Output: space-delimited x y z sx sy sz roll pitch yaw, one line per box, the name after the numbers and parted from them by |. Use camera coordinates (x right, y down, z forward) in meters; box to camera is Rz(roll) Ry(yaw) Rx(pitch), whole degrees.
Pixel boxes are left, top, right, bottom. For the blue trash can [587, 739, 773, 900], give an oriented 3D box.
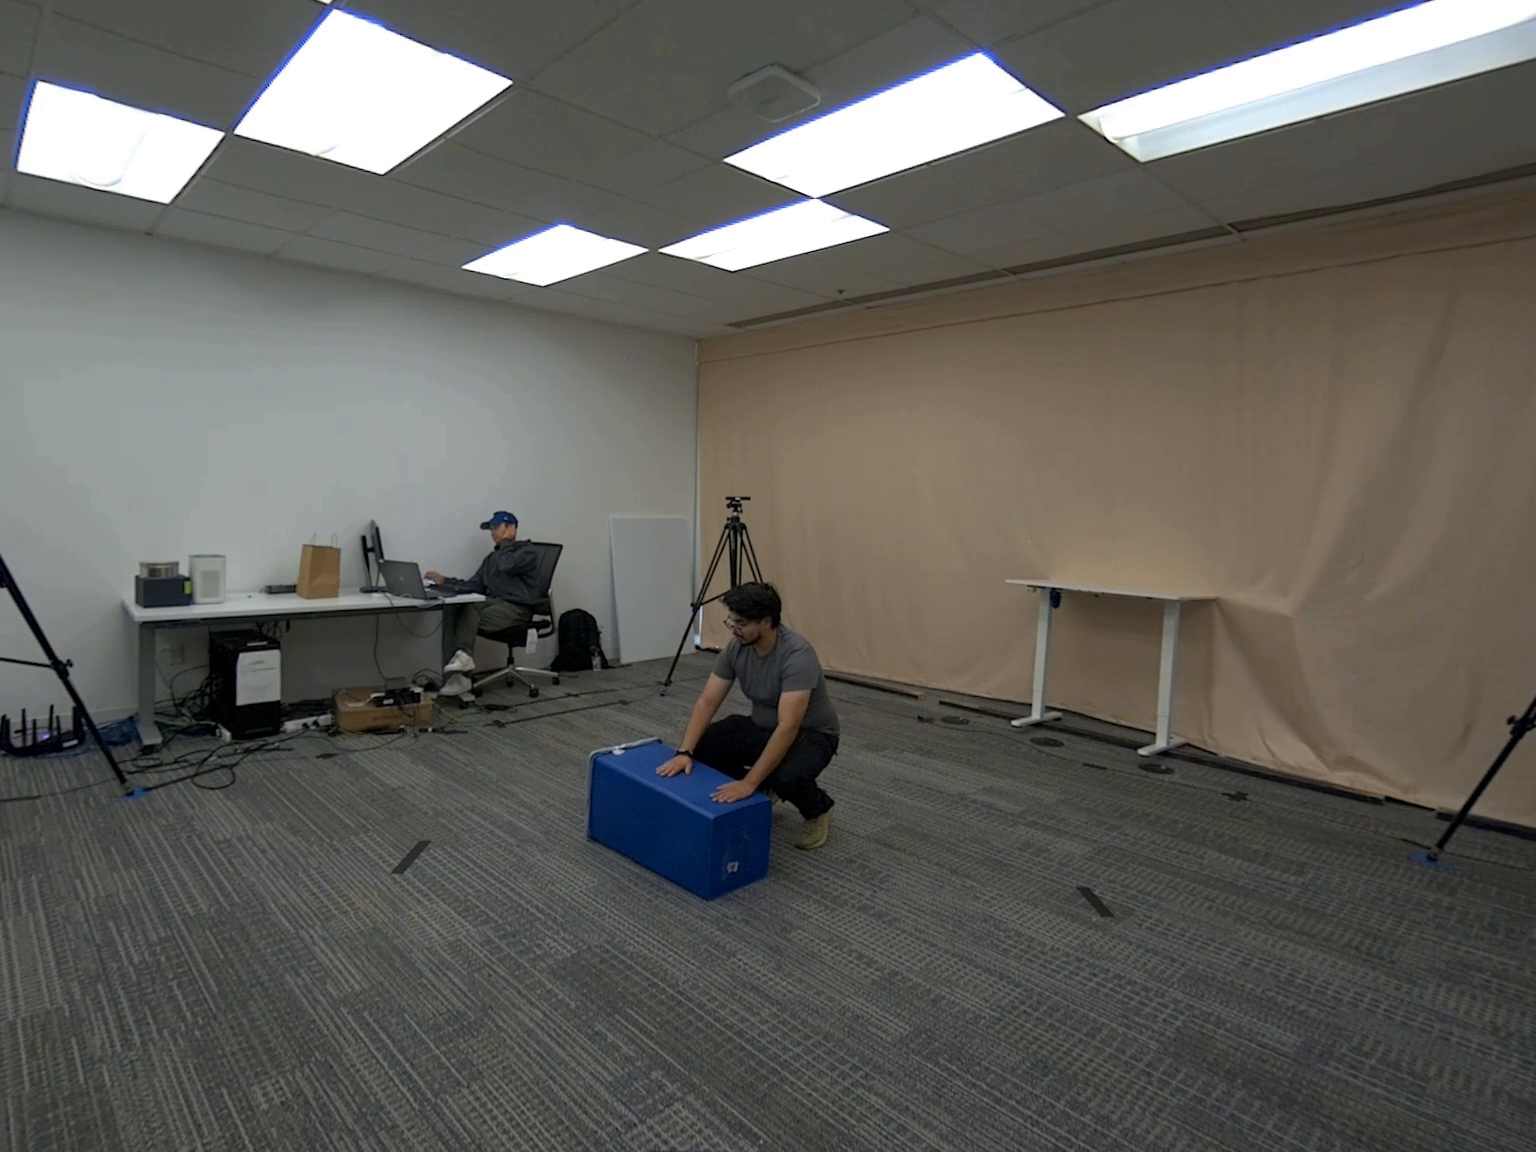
-0.357 0.918 3.236 0.365 0.377 0.732 -2 7 -43 | blue trash can
